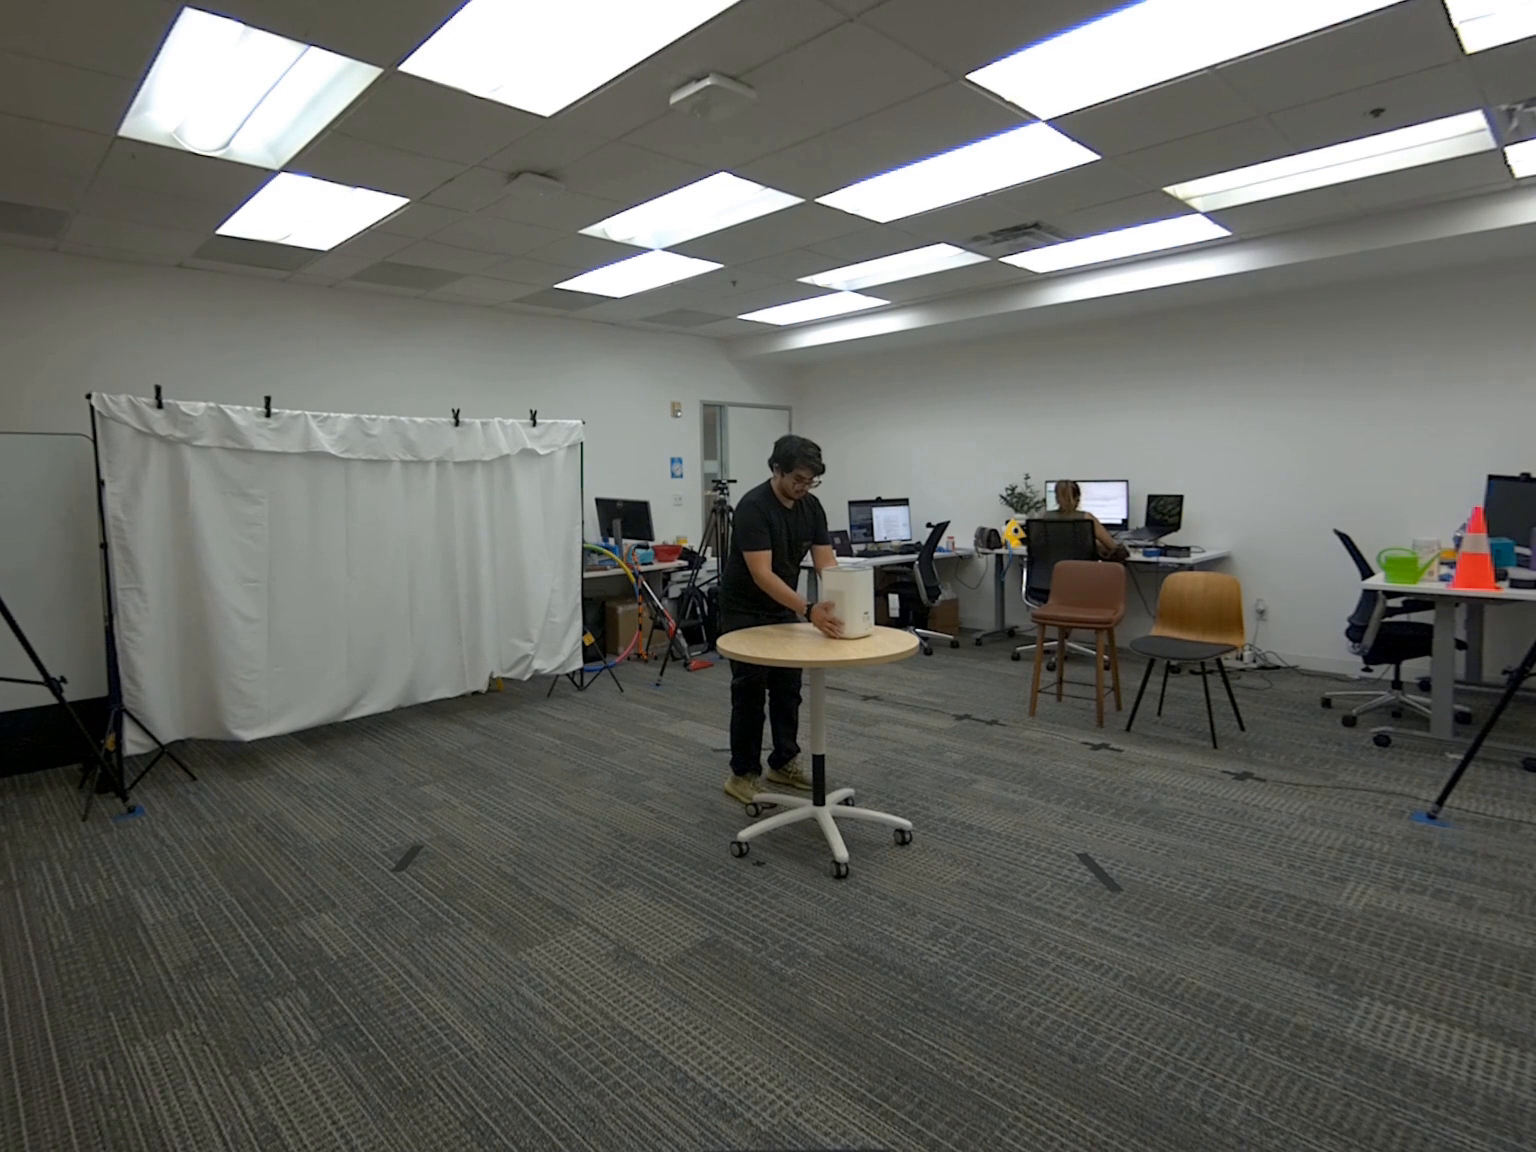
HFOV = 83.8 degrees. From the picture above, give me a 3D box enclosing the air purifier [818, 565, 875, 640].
[{"bbox_3d":[0.309,0.101,3.318,0.177,0.265,0.166,3,4,39],"label":"air purifier"}]
